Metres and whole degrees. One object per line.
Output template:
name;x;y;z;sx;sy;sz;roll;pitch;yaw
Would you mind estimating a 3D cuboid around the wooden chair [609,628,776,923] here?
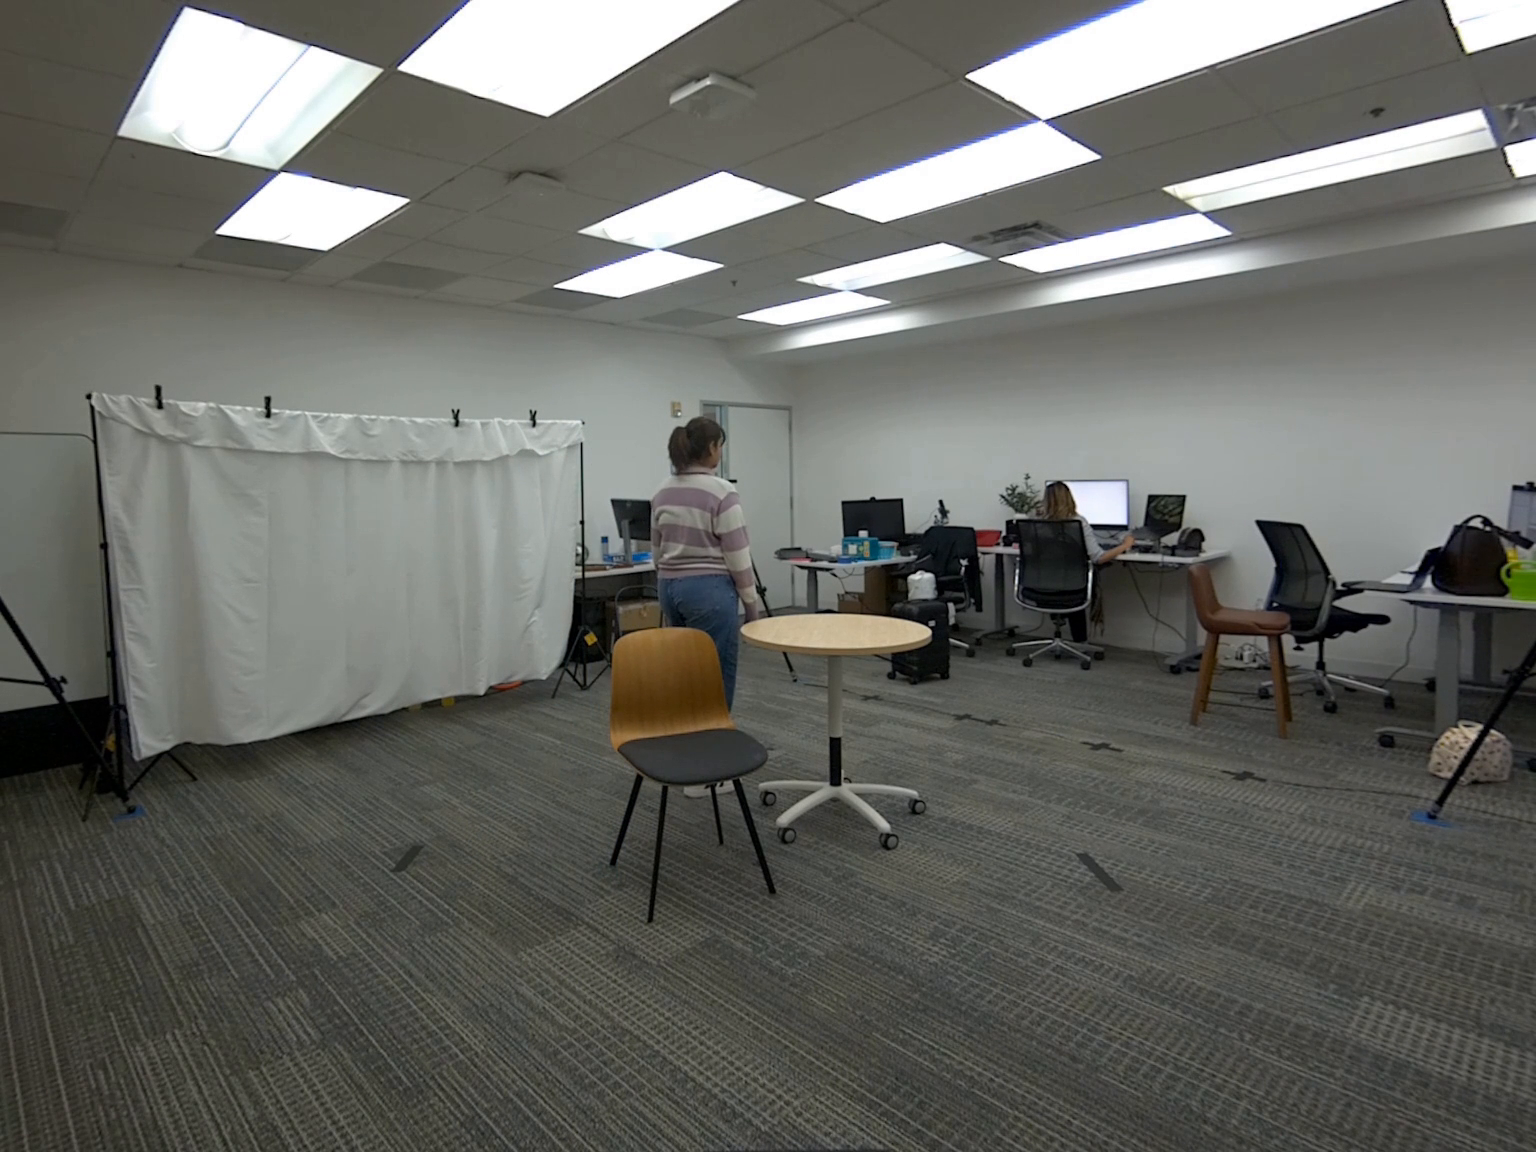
wooden chair;-0.281;0.644;2.955;0.468;0.877;0.534;-3;0;-25
